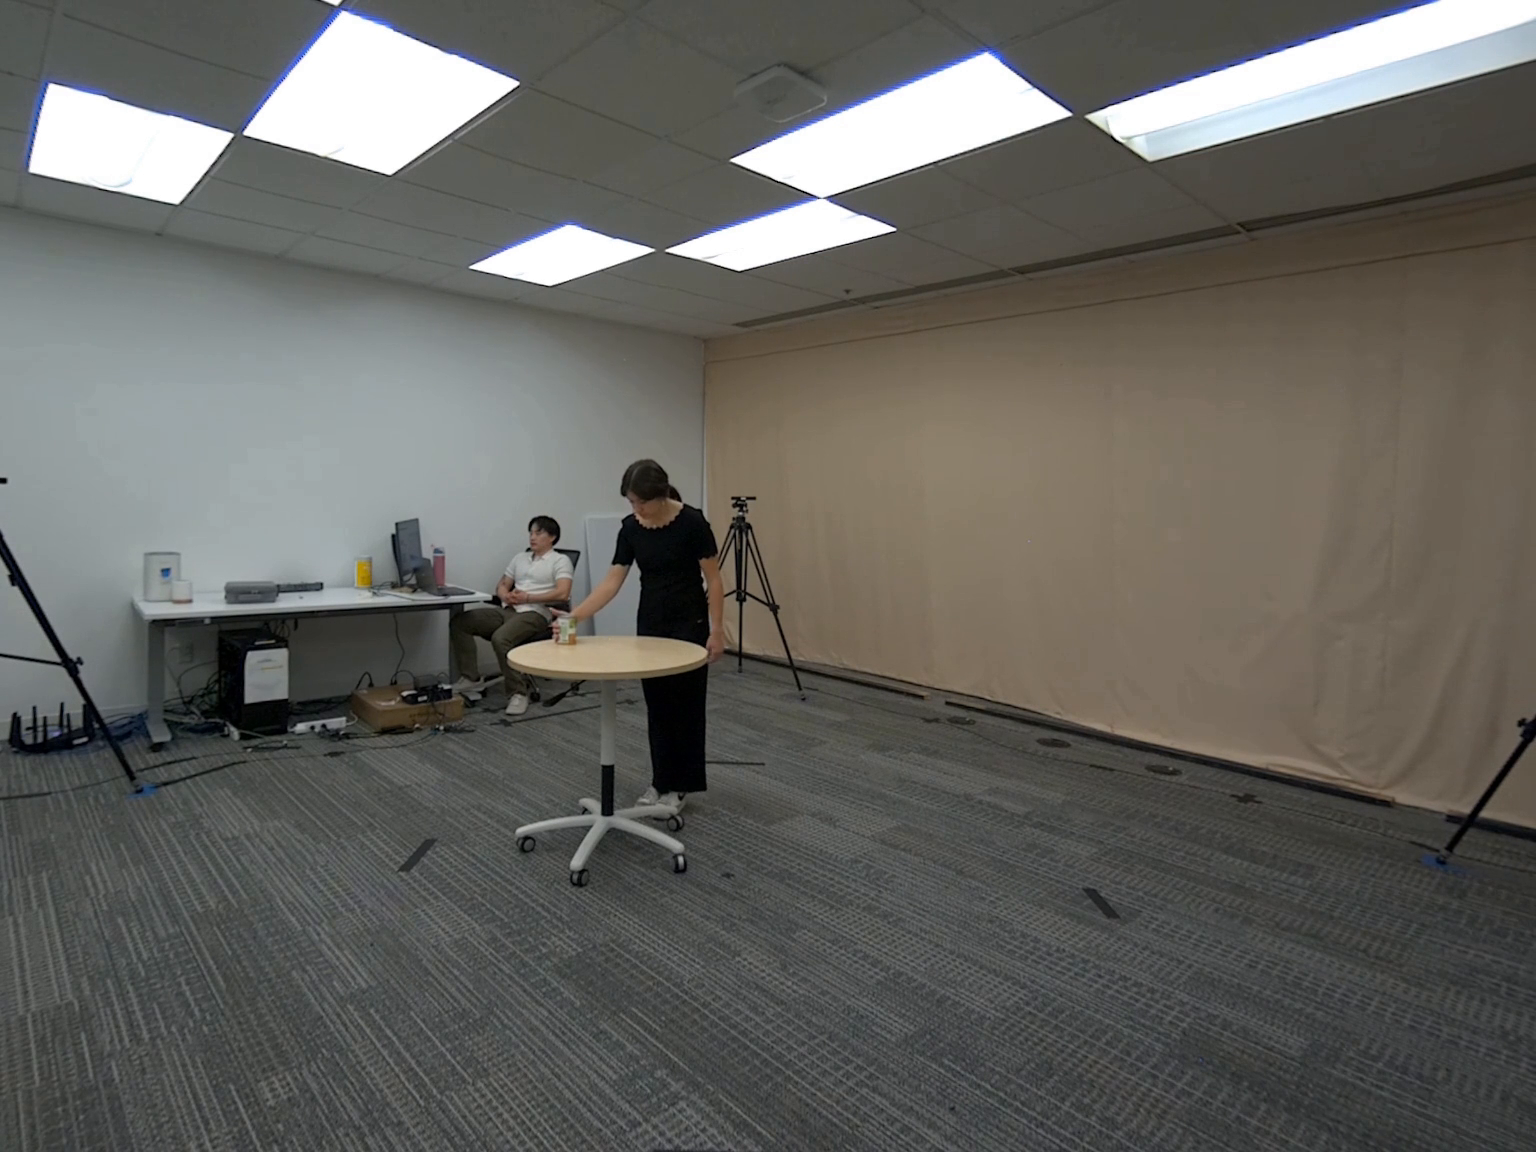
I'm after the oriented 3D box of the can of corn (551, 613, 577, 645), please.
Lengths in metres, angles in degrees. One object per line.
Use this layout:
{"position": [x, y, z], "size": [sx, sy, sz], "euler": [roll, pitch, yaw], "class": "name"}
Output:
{"position": [-0.839, 0.221, 3.441], "size": [0.074, 0.111, 0.074], "euler": [1, 4, -1], "class": "can of corn"}
